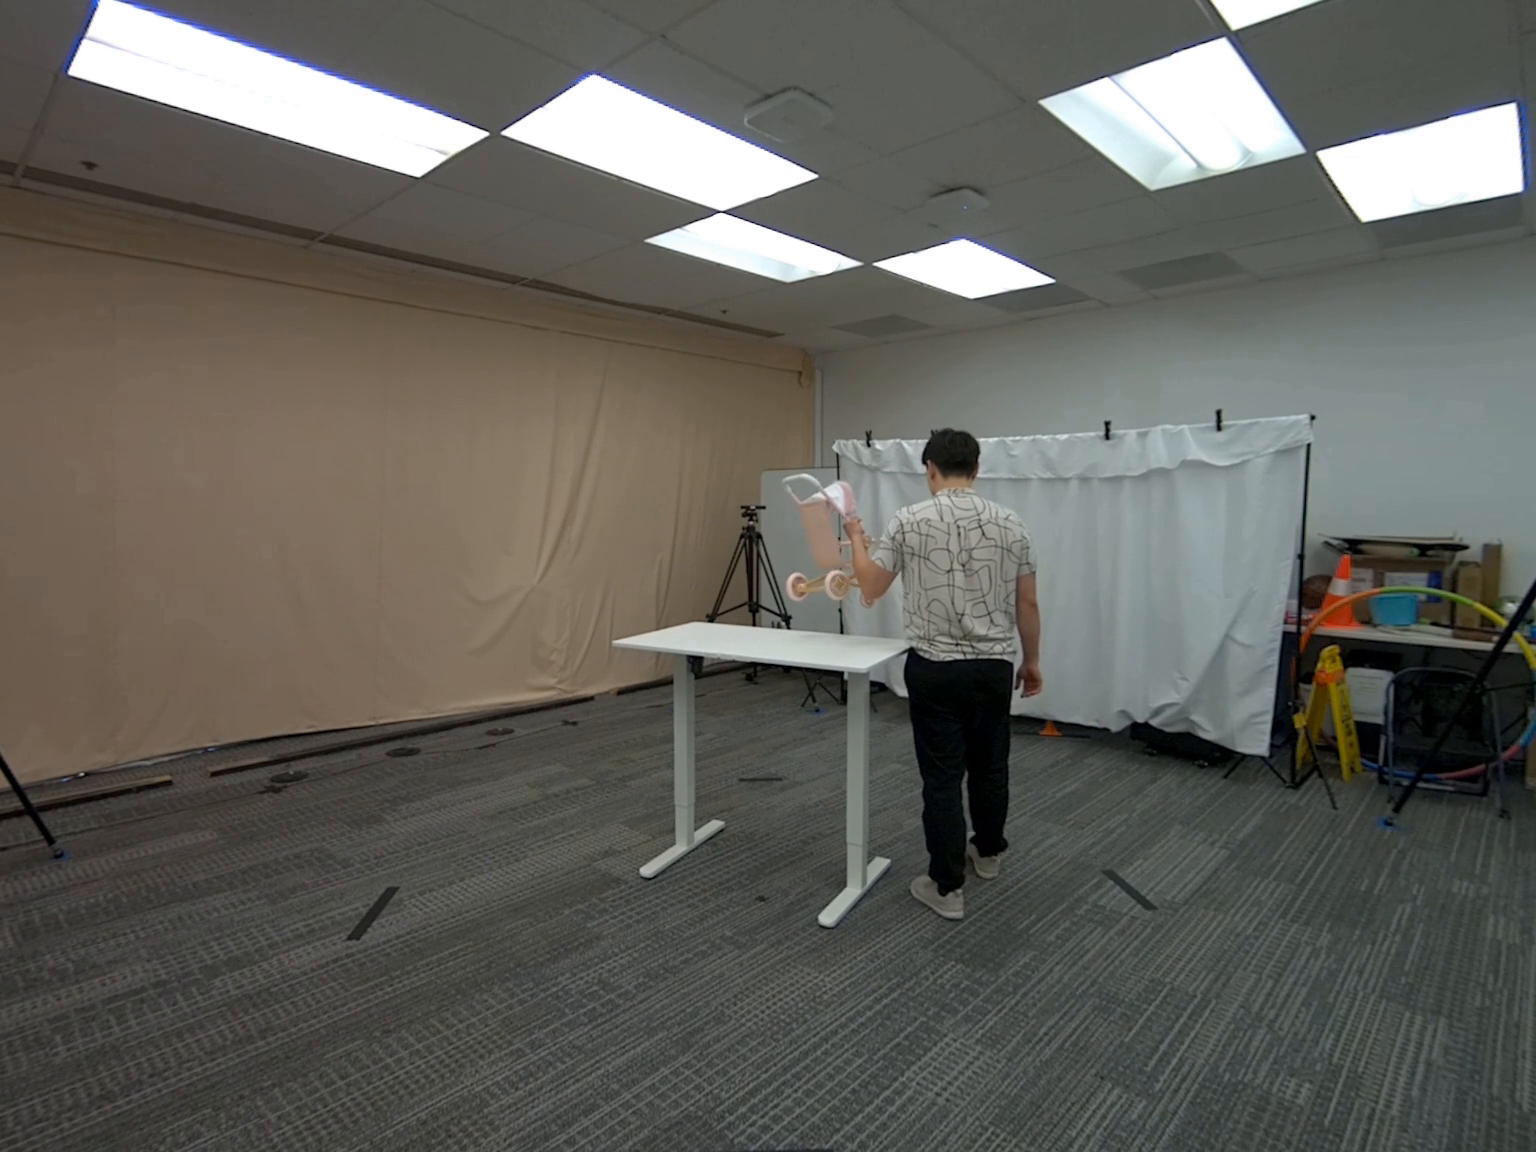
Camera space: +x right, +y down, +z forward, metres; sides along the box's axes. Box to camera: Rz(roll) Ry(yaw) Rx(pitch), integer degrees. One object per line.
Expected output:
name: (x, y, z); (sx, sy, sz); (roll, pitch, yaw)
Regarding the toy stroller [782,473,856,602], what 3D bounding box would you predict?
toy stroller: (0.268, -0.128, 3.253); (0.333, 0.535, 0.288); (-6, -1, -29)
